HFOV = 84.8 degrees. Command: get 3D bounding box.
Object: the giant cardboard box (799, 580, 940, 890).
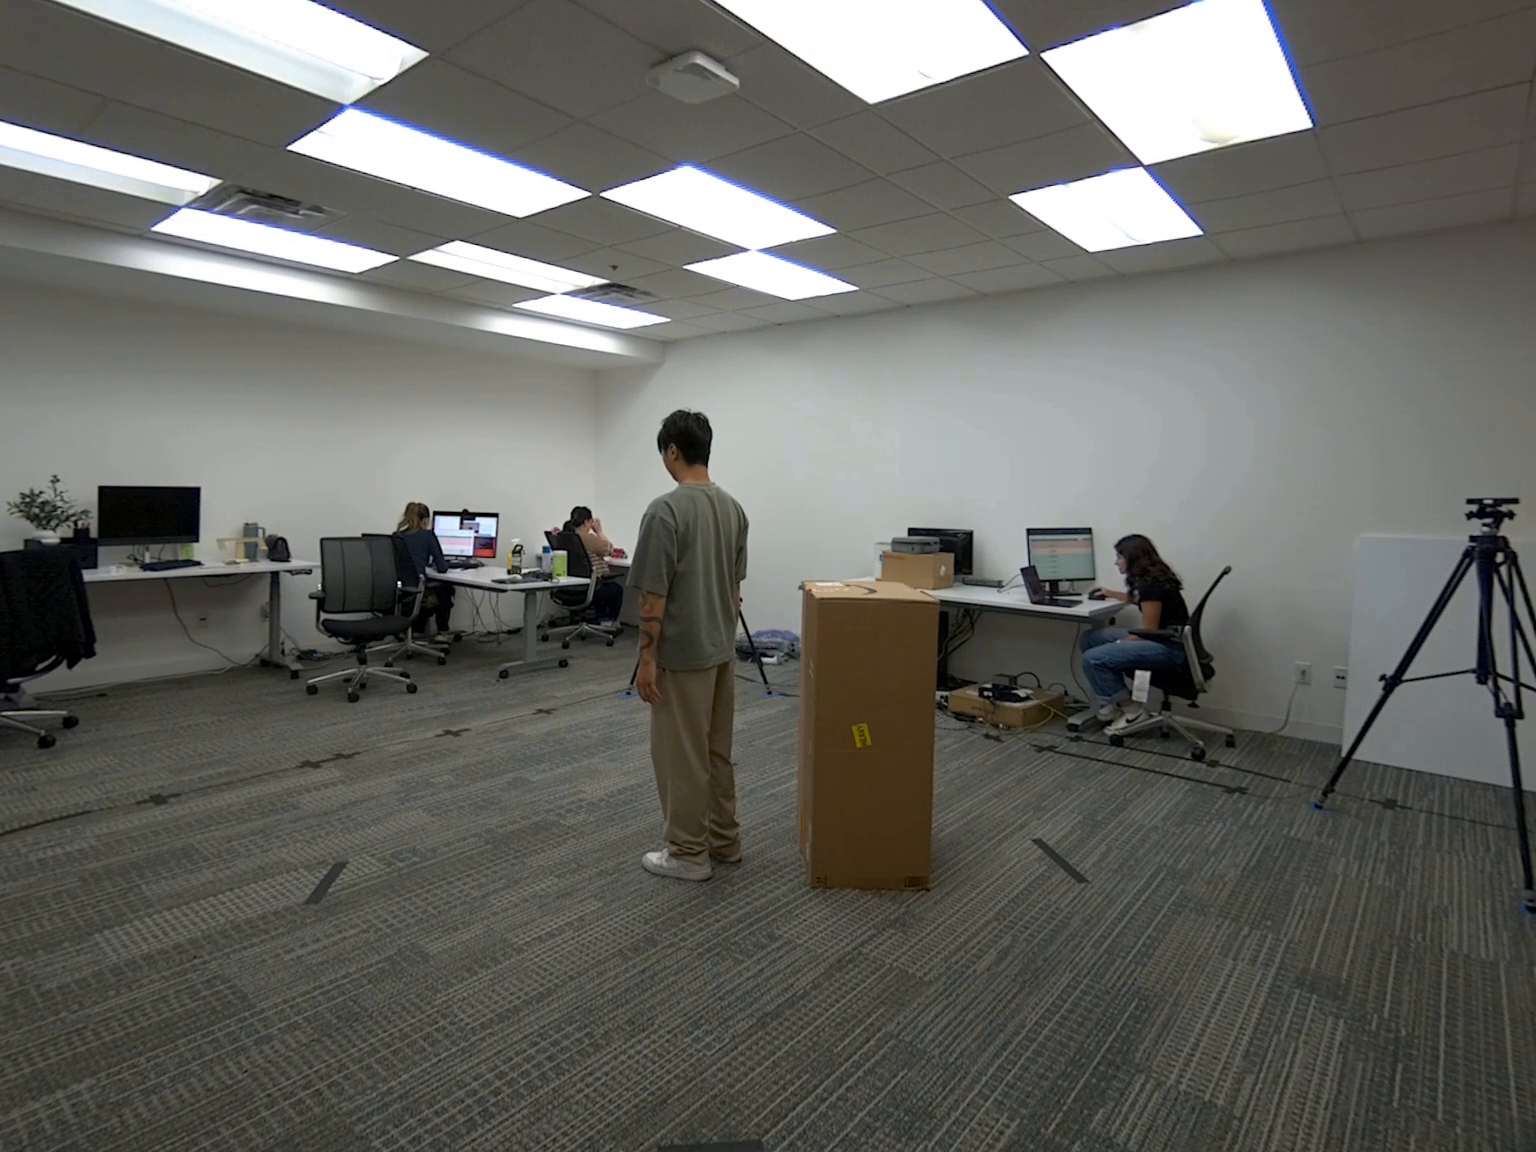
[{"bbox_3d":[0.345,0.555,3.236,0.425,1.023,0.581,1,3,-3],"label":"giant cardboard box"}]
